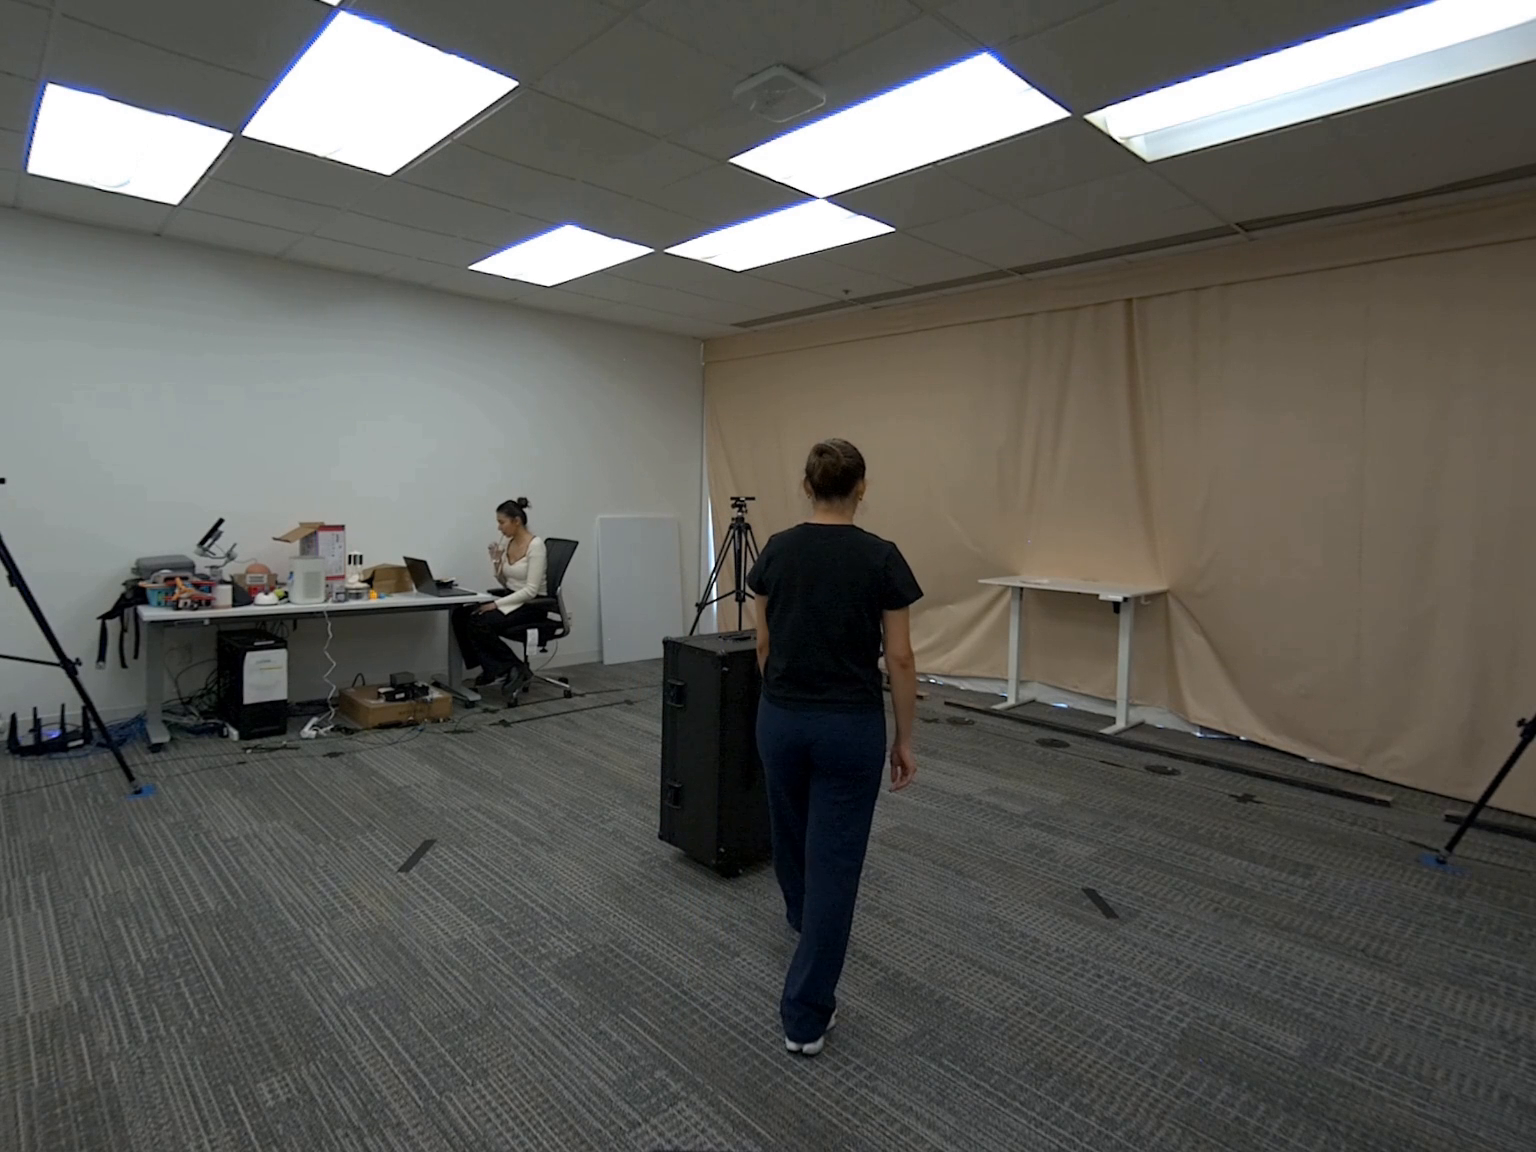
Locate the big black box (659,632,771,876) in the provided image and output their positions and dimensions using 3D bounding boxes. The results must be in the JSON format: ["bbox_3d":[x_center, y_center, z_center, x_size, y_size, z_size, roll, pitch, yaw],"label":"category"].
[{"bbox_3d":[-0.110,0.673,3.238,0.509,0.859,0.406,-1,5,-42],"label":"big black box"}]
